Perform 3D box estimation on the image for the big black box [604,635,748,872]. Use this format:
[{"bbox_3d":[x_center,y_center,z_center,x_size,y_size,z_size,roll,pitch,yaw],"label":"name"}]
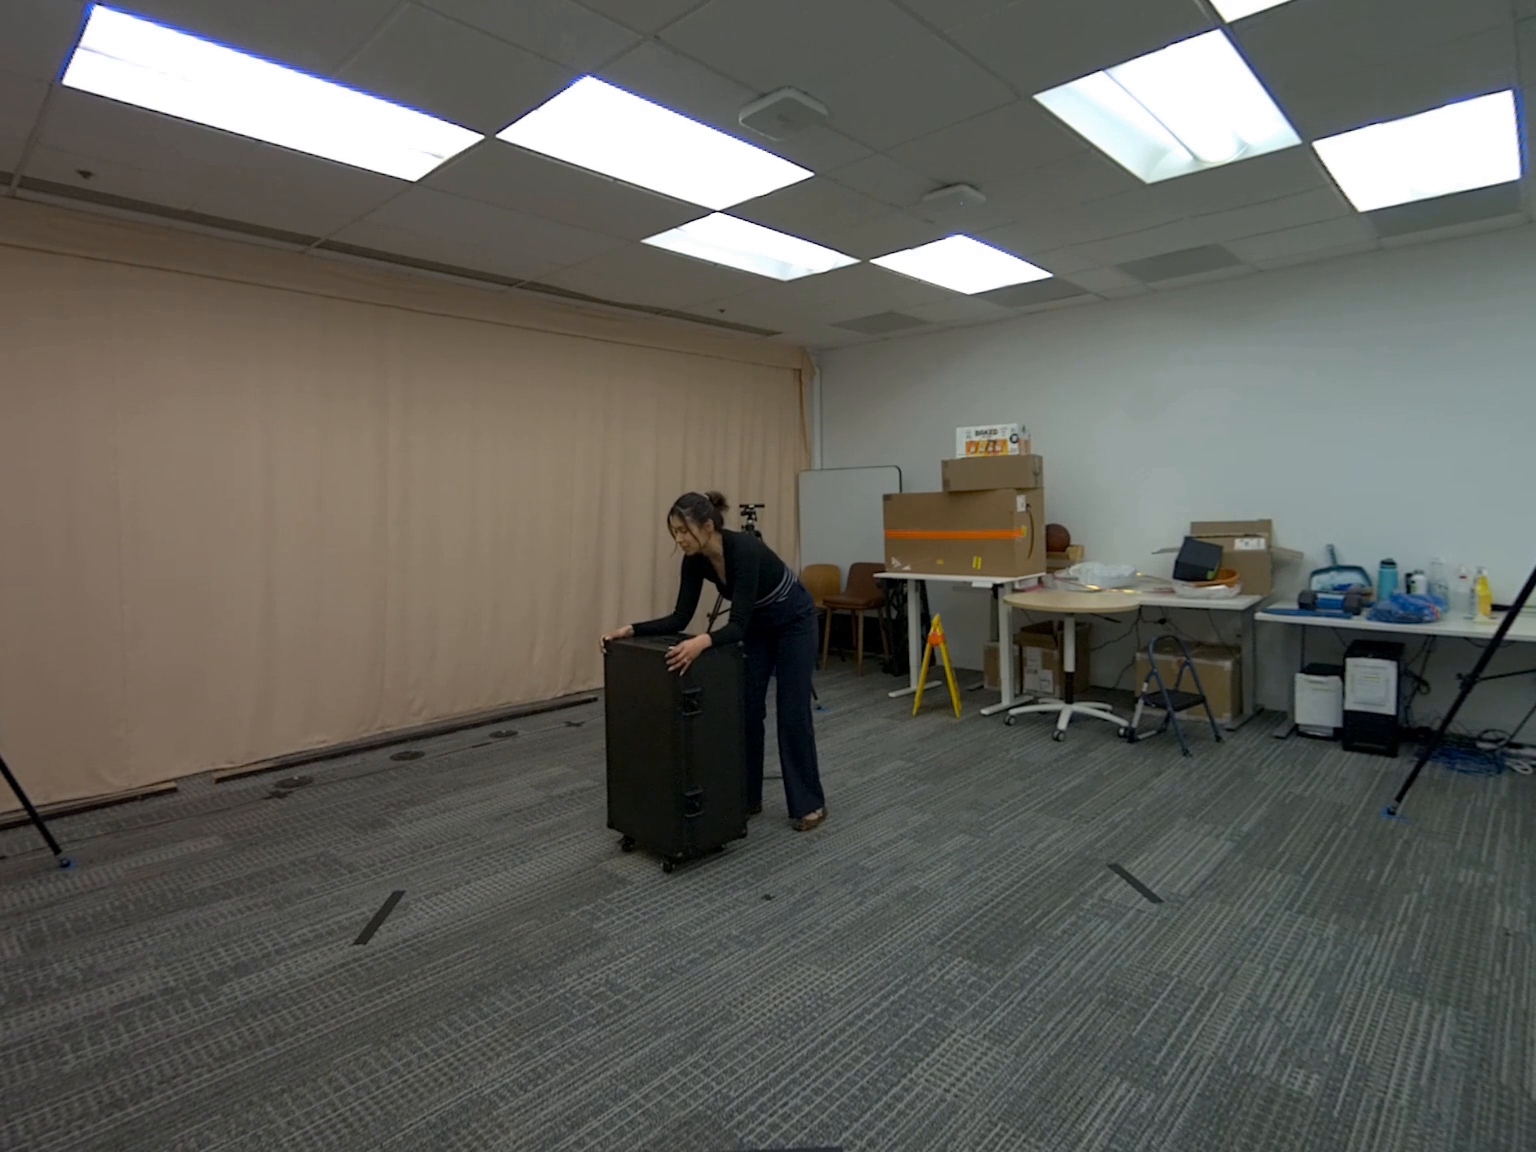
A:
[{"bbox_3d":[-0.377,0.685,3.420,0.384,0.860,0.538,-2,3,-42],"label":"big black box"}]
